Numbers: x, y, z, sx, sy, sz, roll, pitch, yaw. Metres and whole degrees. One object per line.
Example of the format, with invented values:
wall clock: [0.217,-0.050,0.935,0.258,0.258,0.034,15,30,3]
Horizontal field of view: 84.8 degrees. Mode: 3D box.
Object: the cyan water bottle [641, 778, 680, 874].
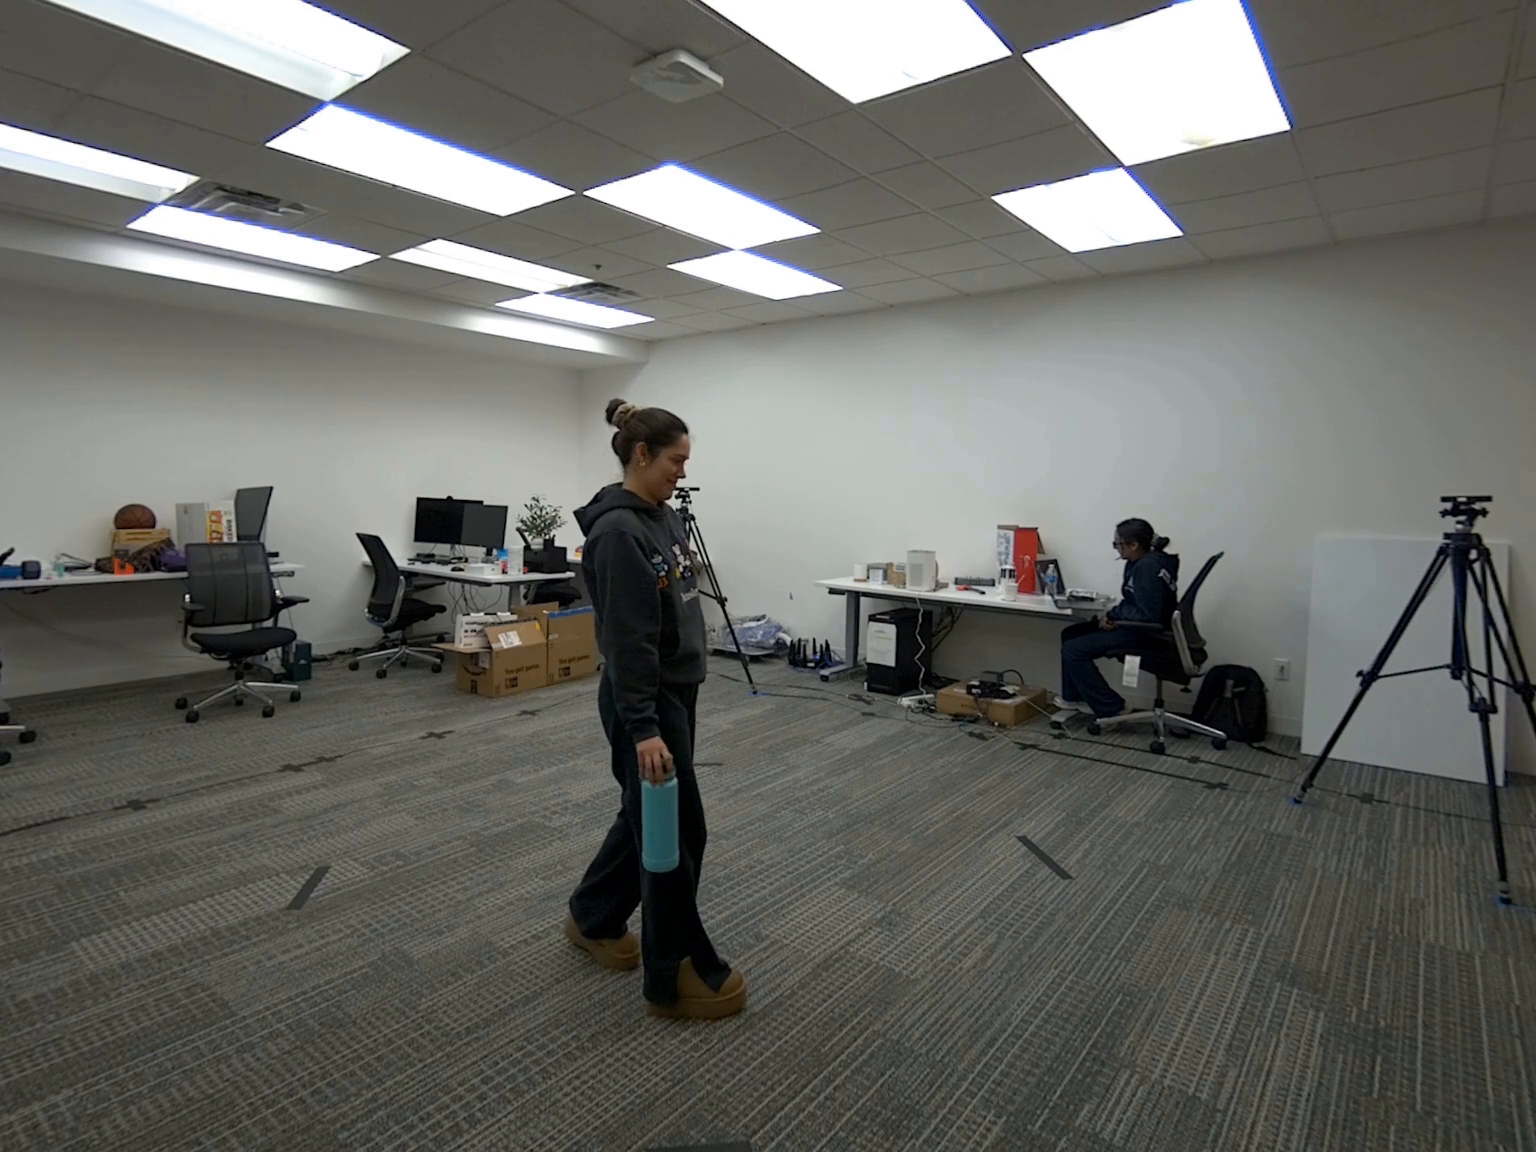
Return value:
cyan water bottle: [-0.285,0.575,2.113,0.092,0.282,0.093,-2,6,-2]
